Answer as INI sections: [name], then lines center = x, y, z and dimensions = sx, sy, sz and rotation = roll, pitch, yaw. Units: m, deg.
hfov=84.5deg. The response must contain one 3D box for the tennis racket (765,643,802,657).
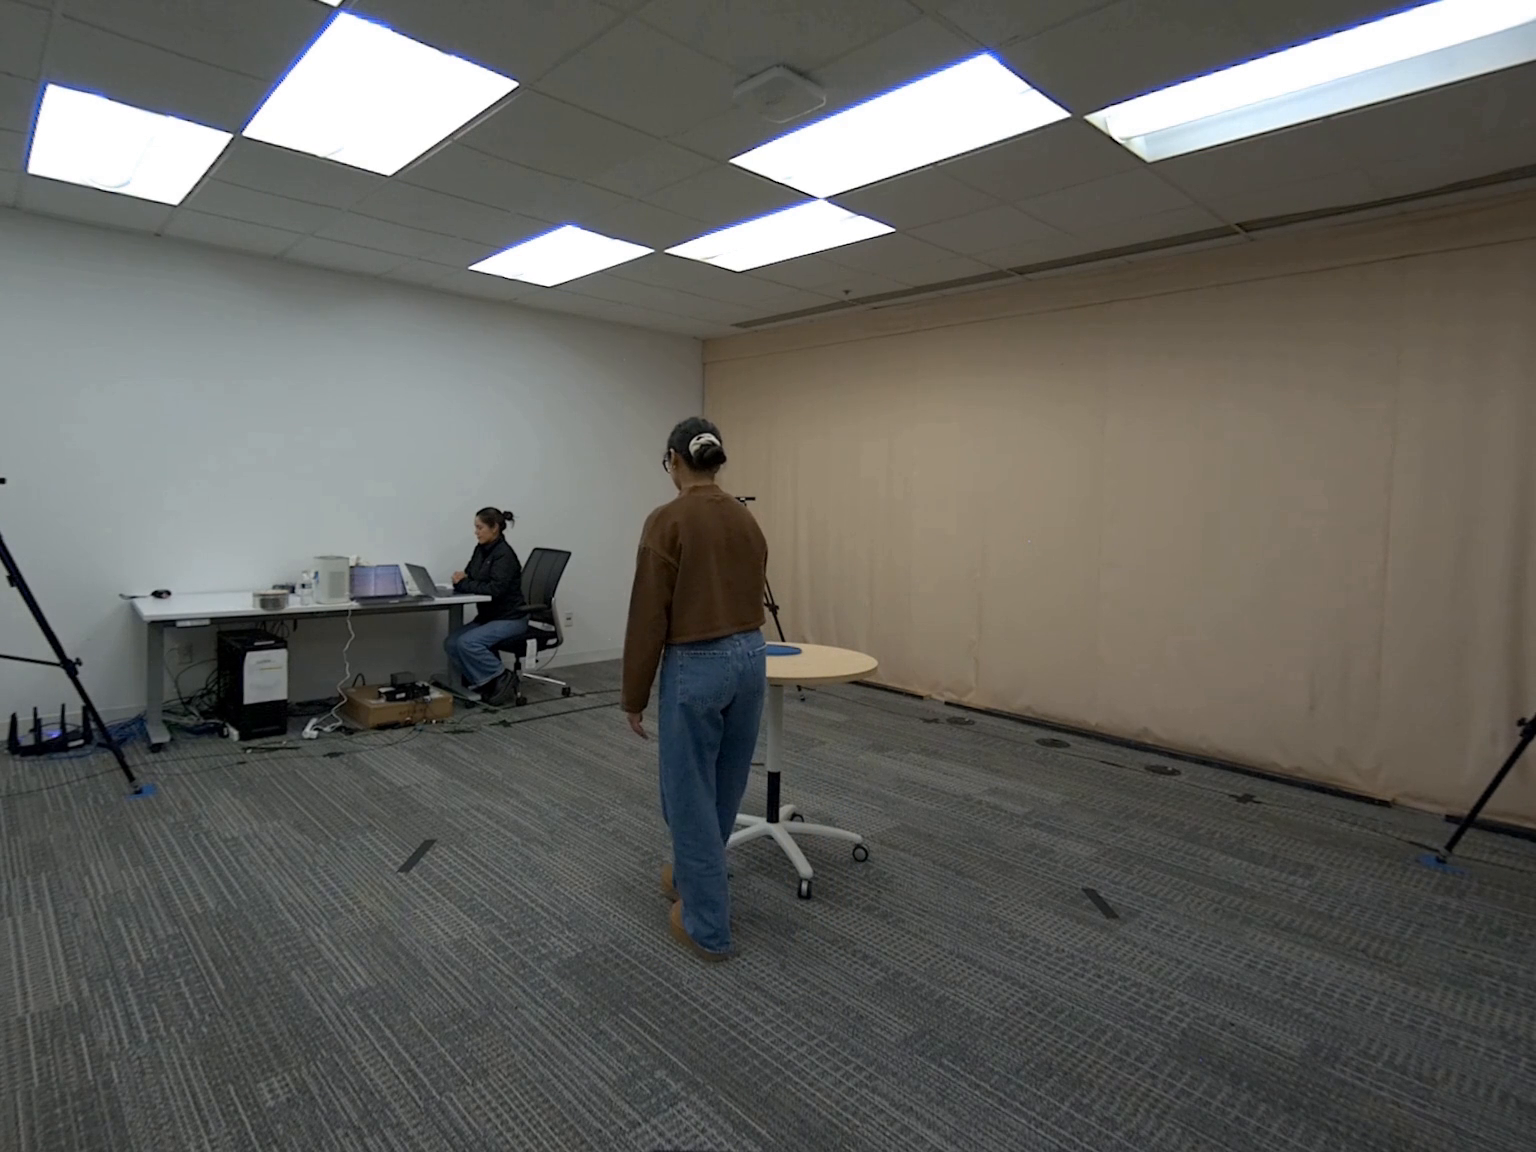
[tennis racket]
center = -0.071, 0.295, 3.357
dimensions = 0.426, 0.032, 0.218
rotation = 1, 5, -22
